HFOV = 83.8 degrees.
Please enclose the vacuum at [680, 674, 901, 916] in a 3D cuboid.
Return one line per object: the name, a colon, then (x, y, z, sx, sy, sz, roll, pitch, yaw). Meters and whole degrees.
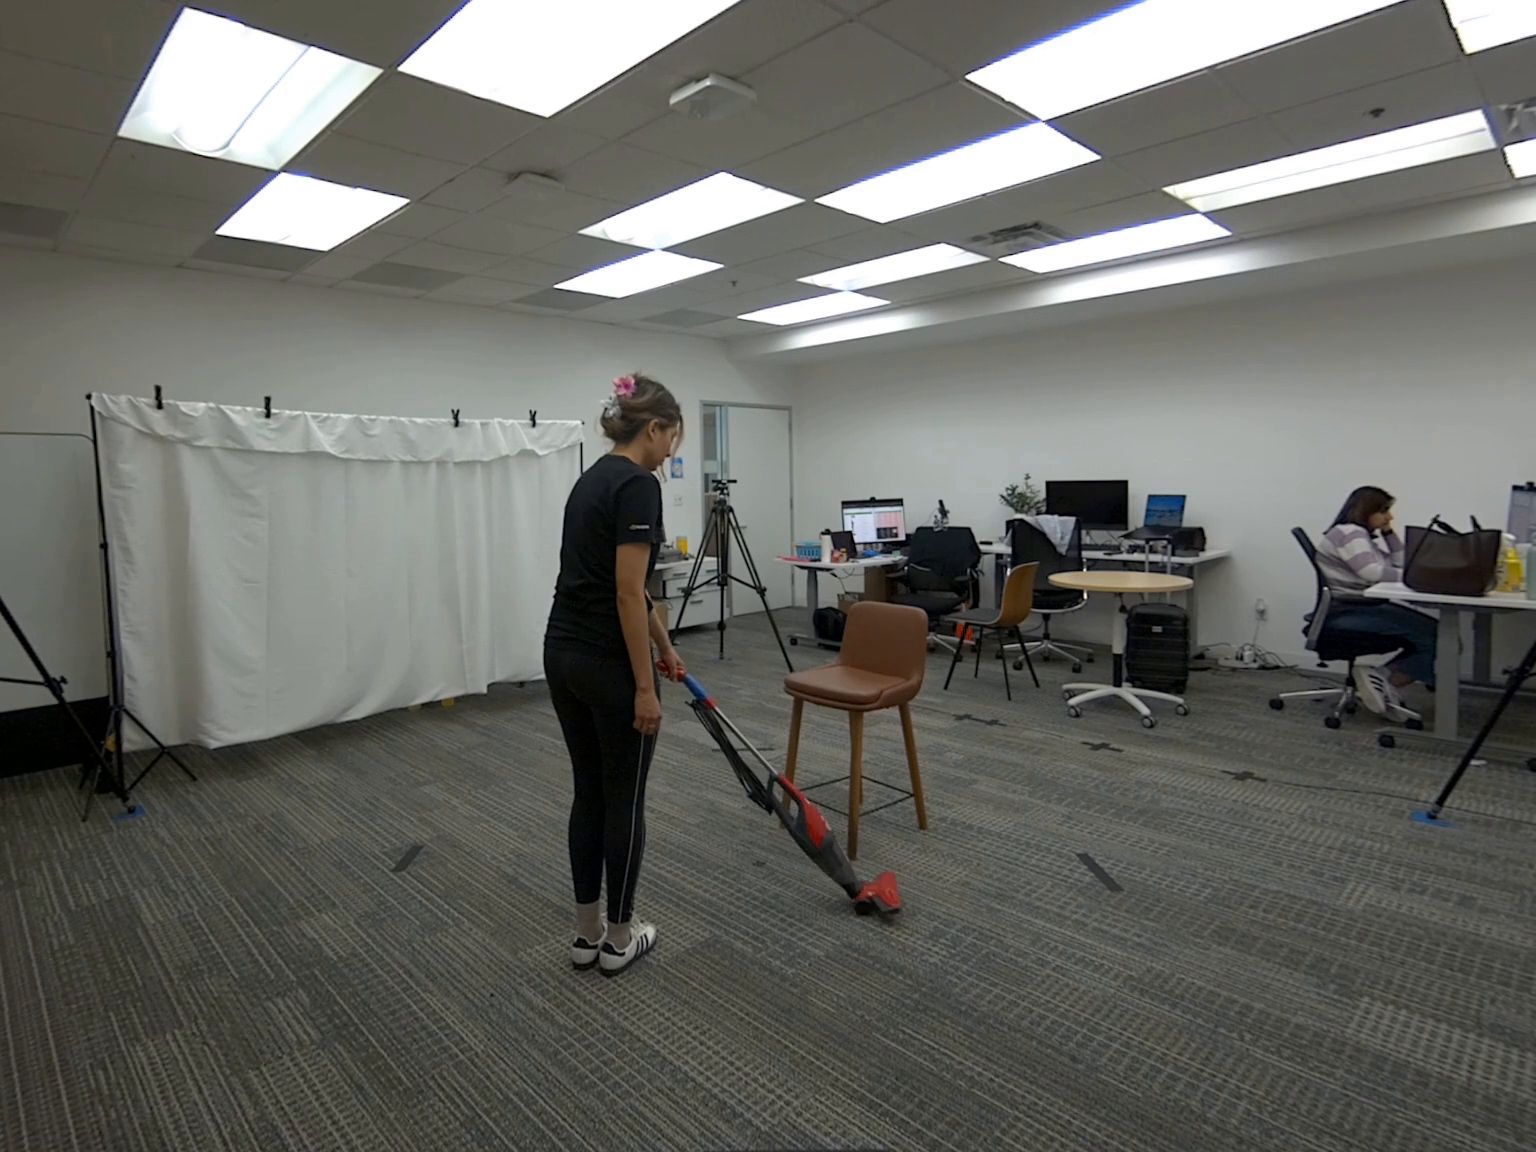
vacuum: (-0.010, 0.675, 2.809, 0.144, 1.055, 0.251, -45, -4, 8)
